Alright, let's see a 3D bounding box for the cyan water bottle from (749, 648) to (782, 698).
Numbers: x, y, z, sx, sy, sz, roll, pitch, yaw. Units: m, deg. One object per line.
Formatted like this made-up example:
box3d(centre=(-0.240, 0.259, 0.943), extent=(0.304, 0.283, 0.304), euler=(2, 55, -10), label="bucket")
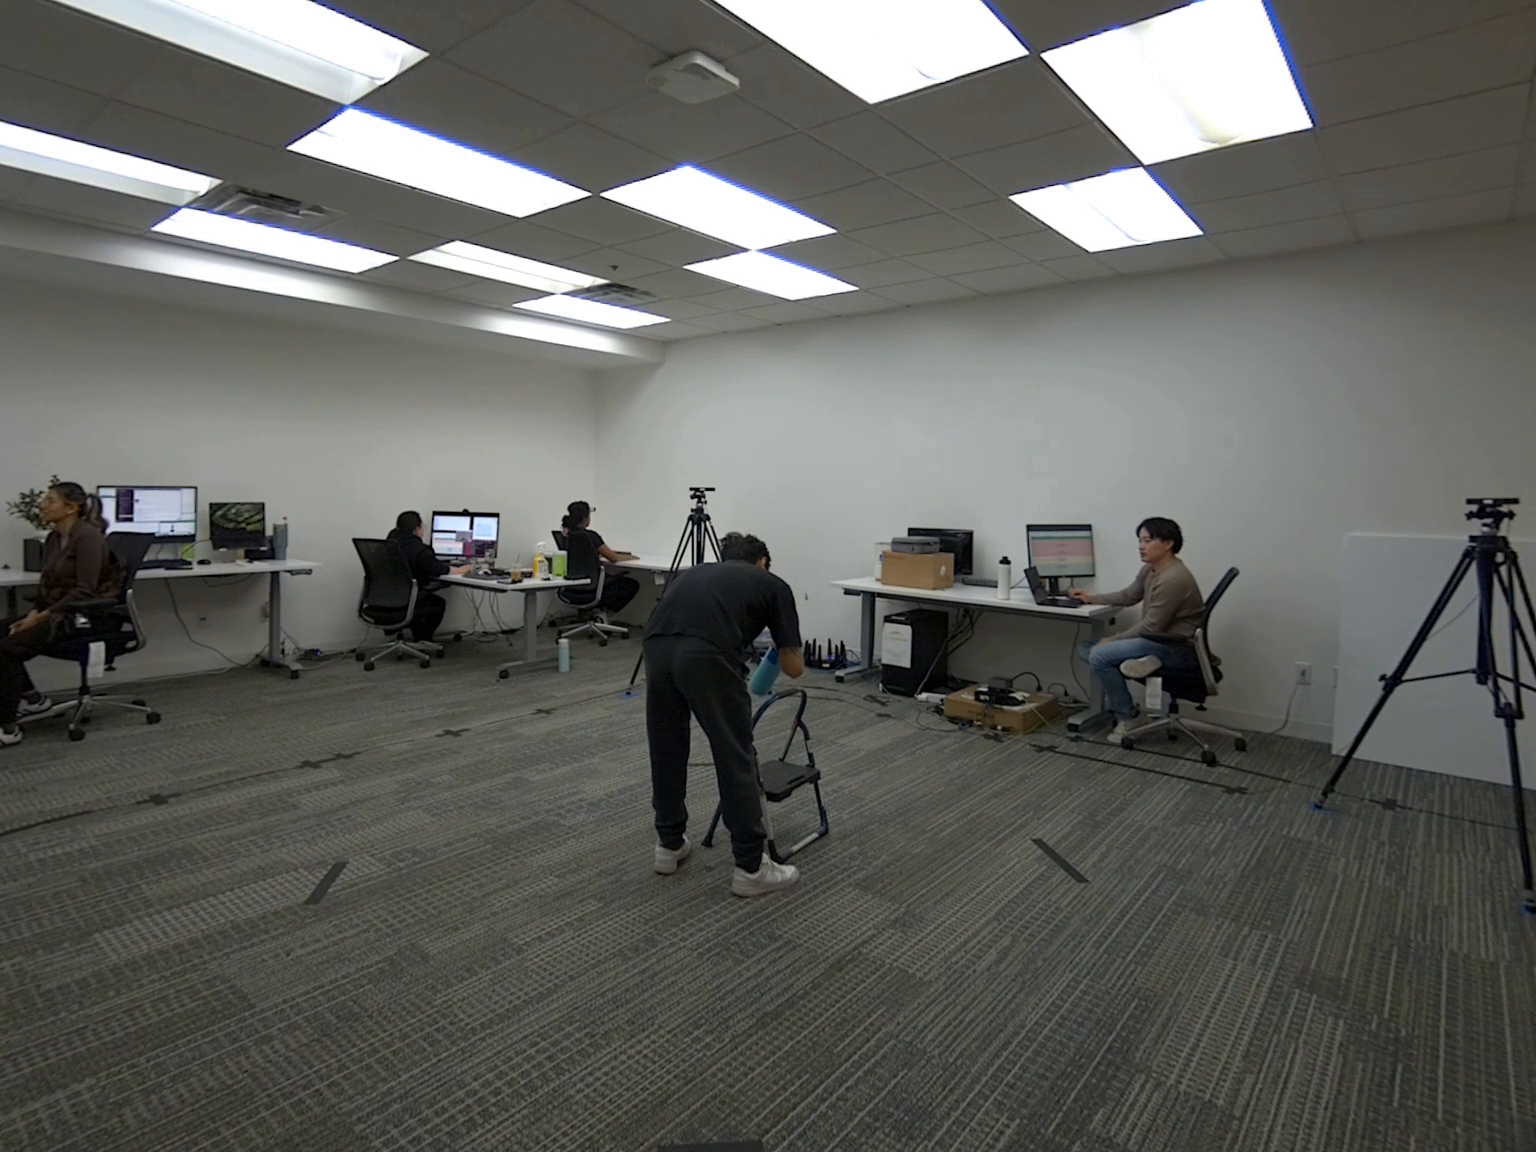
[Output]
box3d(centre=(0.001, 0.359, 3.449), extent=(0.091, 0.280, 0.095), euler=(17, 31, -13), label="cyan water bottle")
